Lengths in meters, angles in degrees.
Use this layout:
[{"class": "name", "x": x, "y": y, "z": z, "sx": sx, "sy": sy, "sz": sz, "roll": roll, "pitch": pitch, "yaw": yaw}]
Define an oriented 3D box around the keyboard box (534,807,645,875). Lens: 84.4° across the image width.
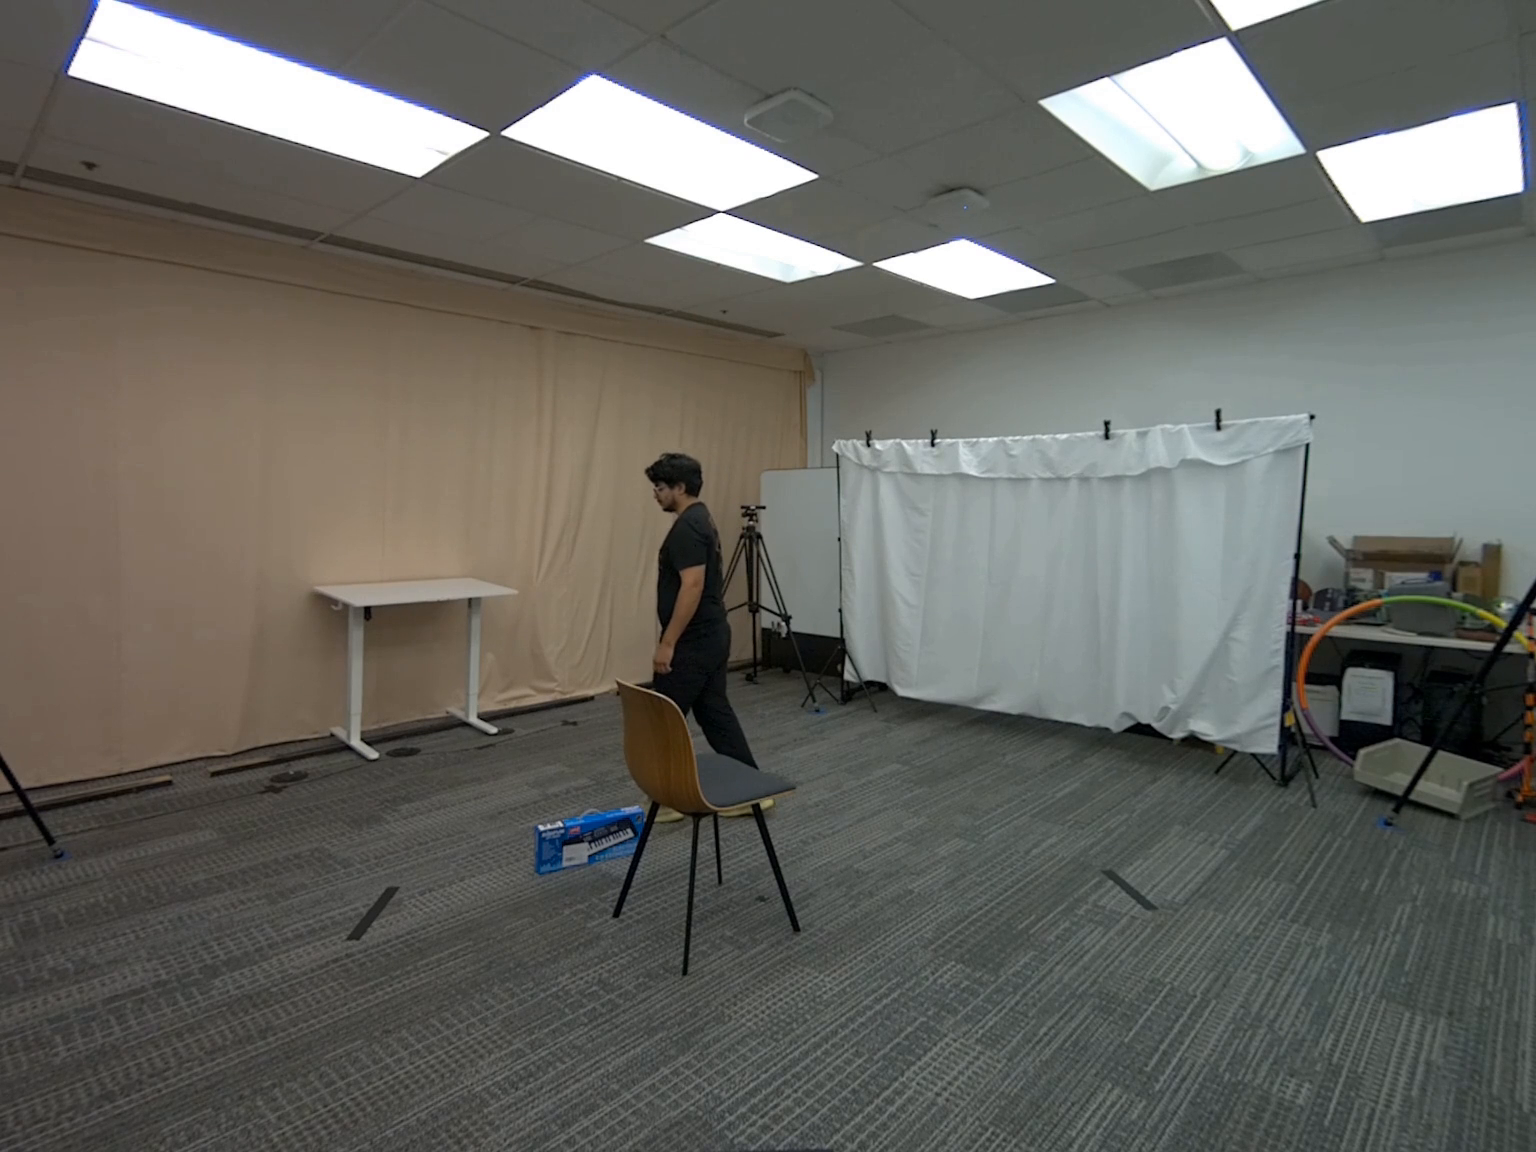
[{"class": "keyboard box", "x": -0.704, "y": 1.041, "z": 3.314, "sx": 0.425, "sy": 0.175, "sz": 0.061, "roll": -3, "pitch": 7, "yaw": -29}]
